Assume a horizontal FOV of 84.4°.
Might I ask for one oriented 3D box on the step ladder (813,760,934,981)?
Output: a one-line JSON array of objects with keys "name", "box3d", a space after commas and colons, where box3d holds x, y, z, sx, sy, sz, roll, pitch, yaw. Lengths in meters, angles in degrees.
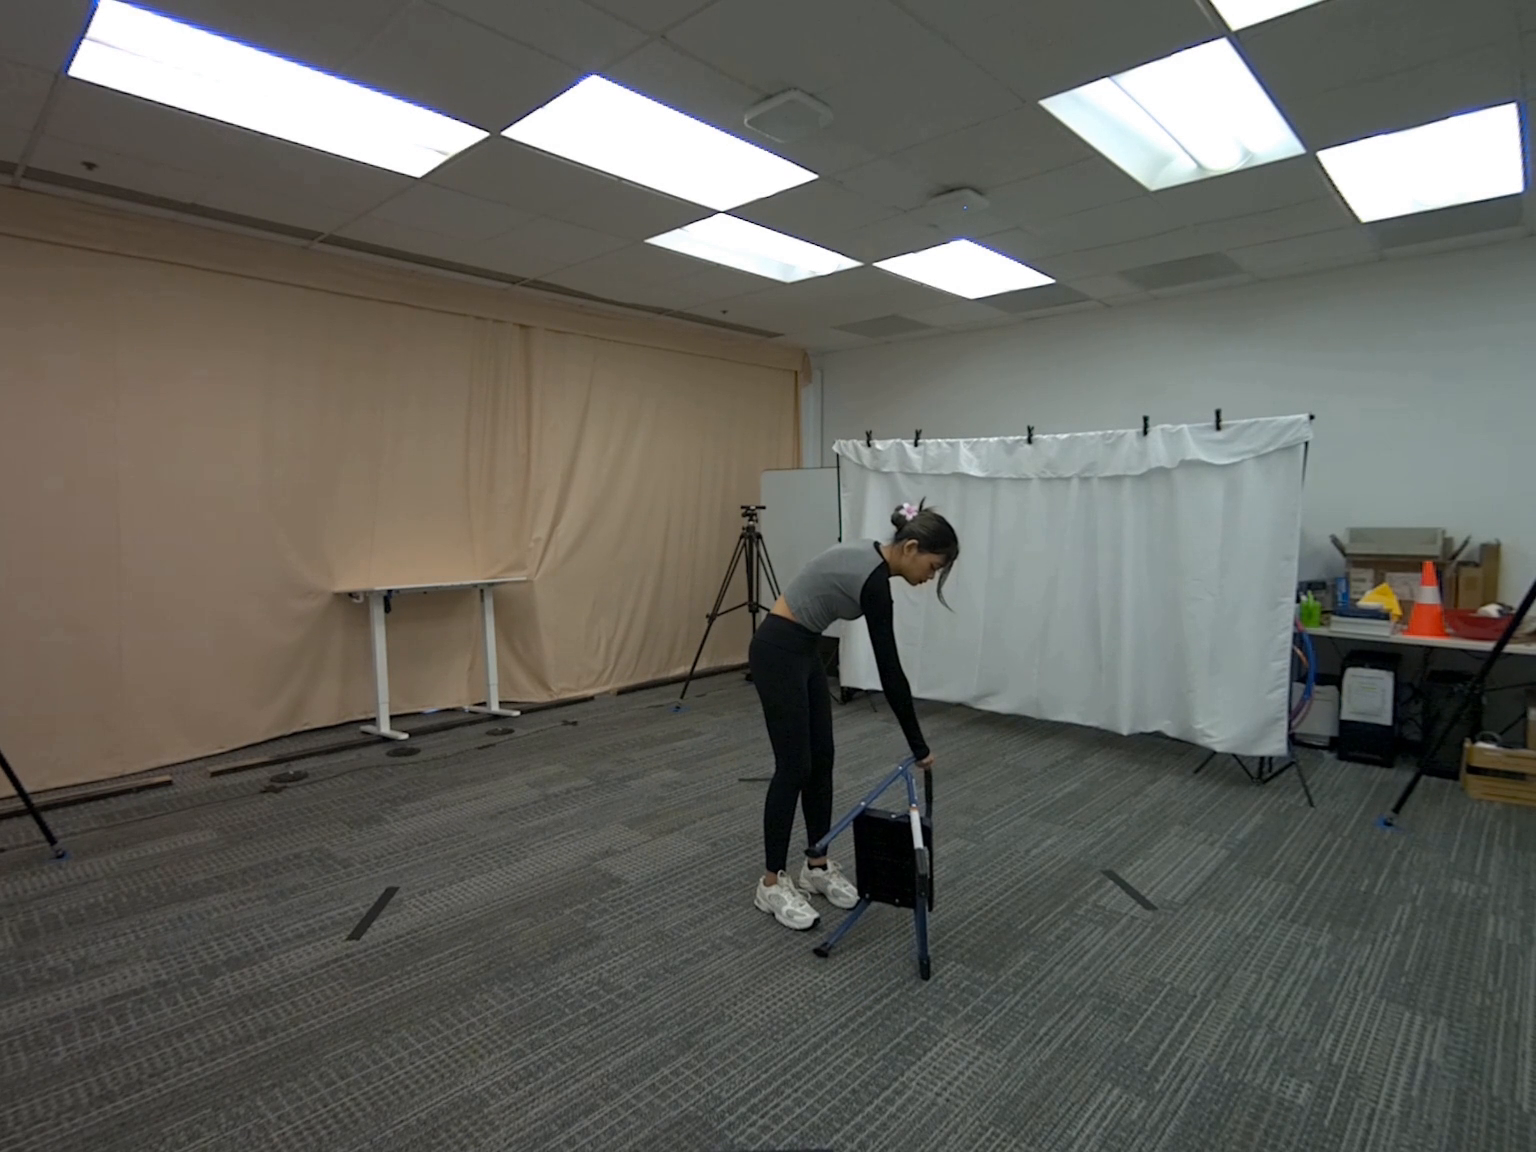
[{"name": "step ladder", "box3d": [0.388, 0.860, 2.702, 0.357, 0.424, 0.602, 4, 26, 21]}]
